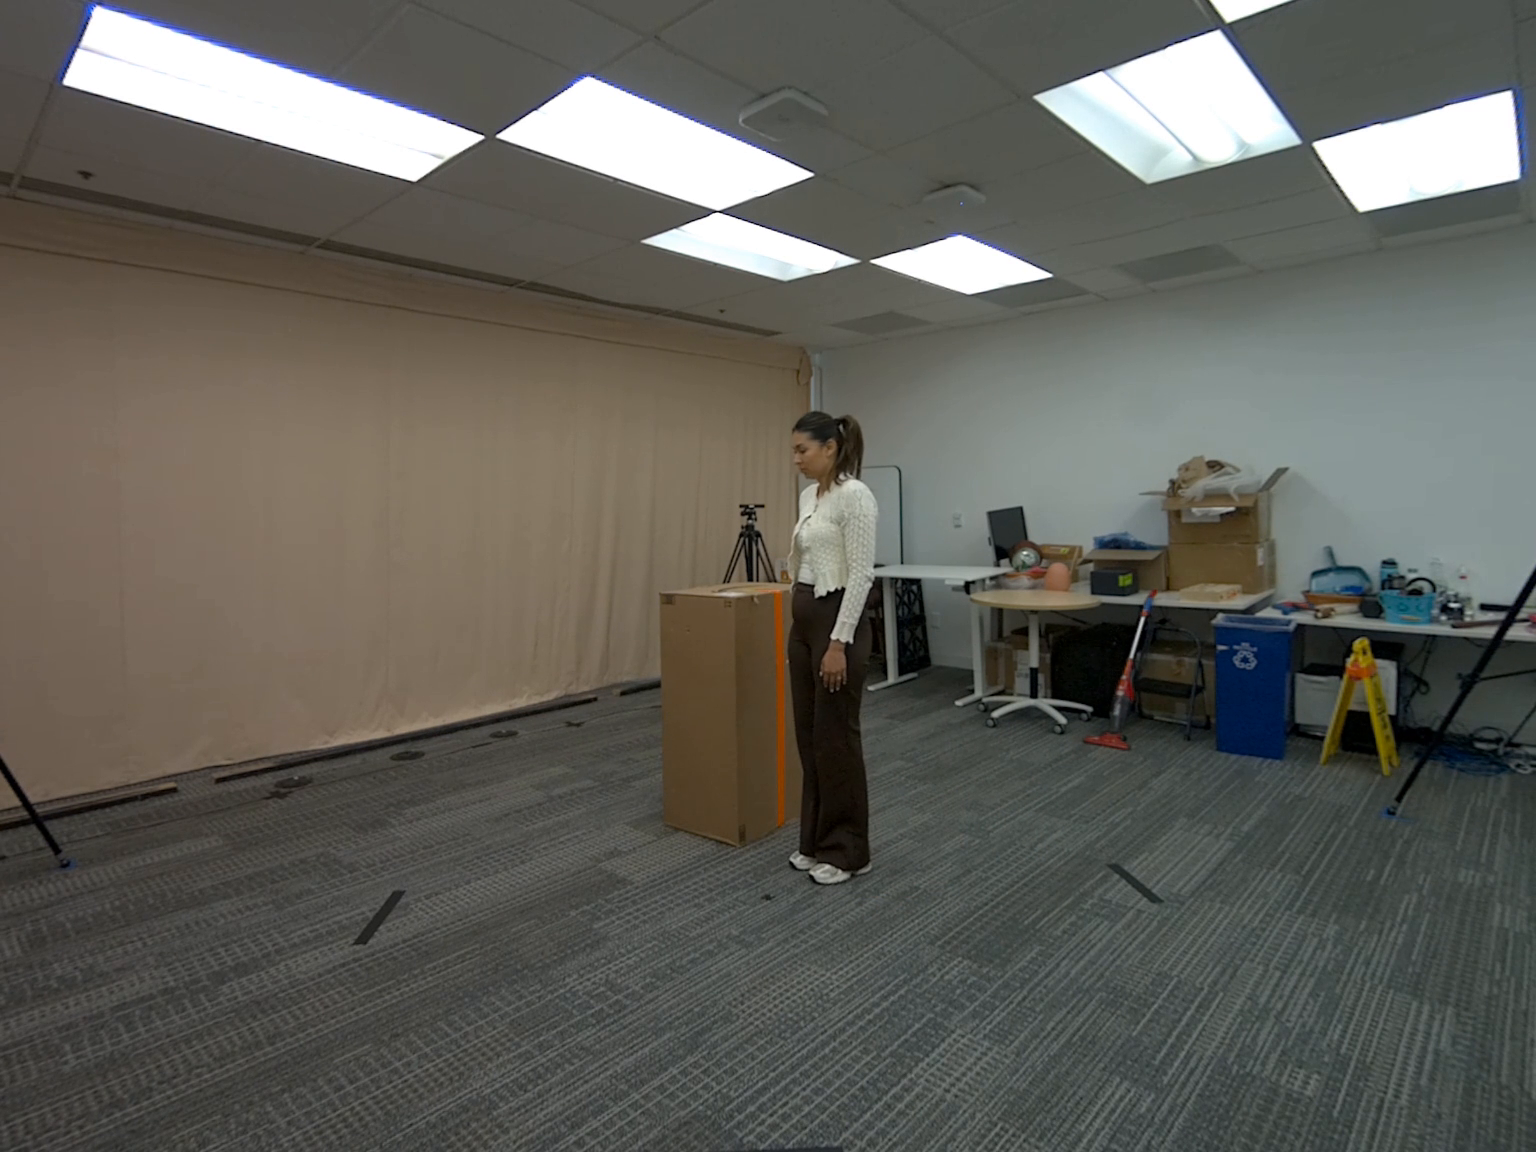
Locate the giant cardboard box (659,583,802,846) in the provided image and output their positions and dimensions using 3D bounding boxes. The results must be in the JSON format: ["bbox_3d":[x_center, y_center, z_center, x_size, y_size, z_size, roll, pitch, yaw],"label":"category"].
[{"bbox_3d":[-0.126,0.567,3.747,0.440,1.024,0.560,1,3,38],"label":"giant cardboard box"}]
